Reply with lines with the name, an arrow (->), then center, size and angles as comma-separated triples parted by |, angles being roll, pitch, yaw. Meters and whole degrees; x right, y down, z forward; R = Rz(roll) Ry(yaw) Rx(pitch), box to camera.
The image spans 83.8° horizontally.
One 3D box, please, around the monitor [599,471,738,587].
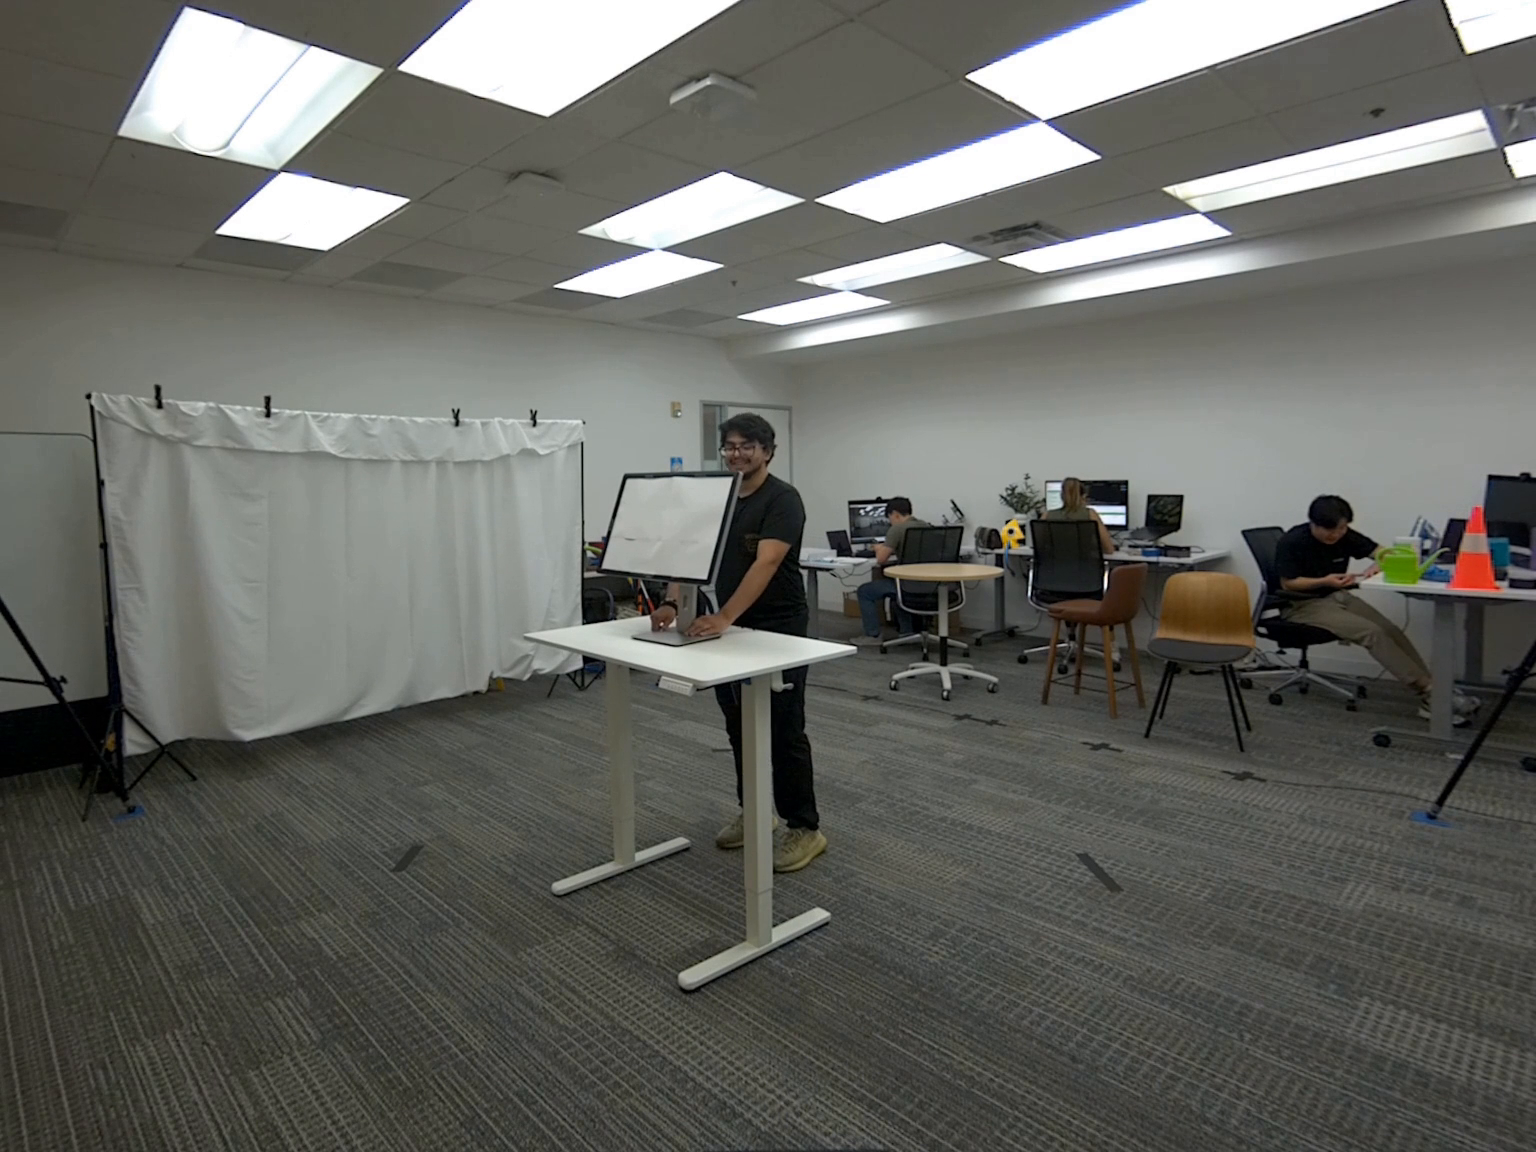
monitor -> -0.289, -0.064, 2.803 | 0.583, 0.556, 0.203 | 3, -6, 43
